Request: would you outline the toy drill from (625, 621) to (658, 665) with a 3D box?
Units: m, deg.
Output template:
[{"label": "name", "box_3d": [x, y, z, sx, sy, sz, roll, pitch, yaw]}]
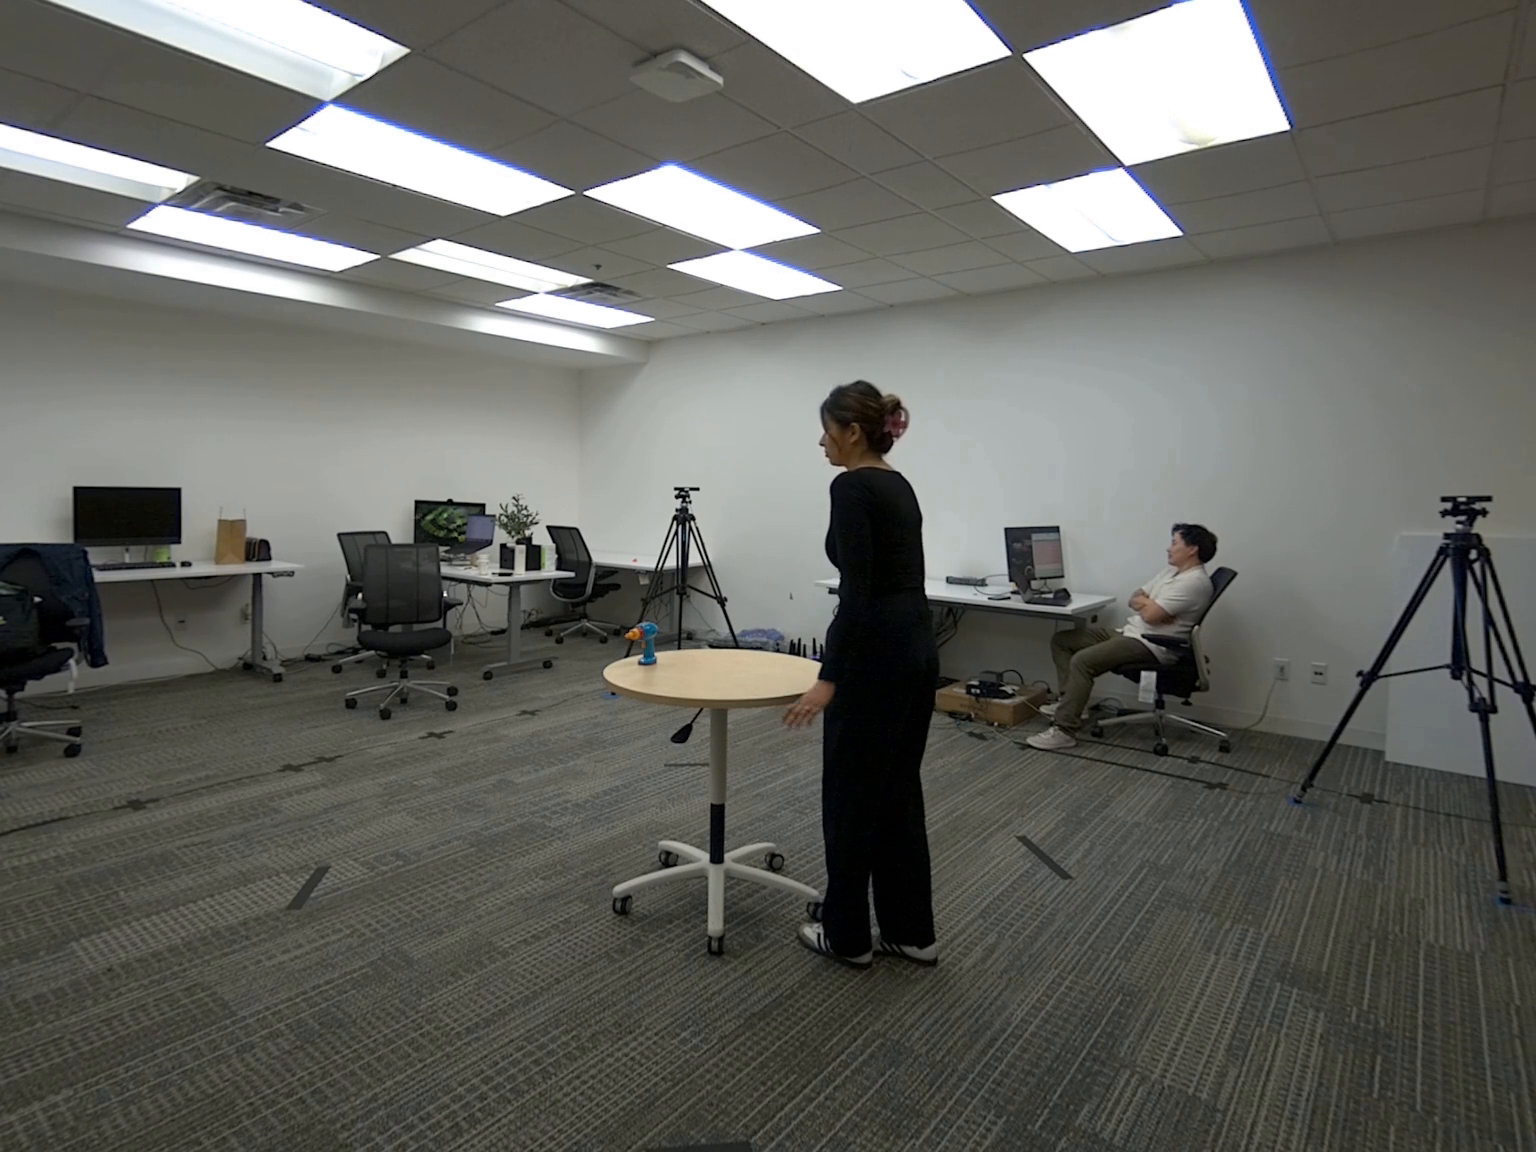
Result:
[{"label": "toy drill", "box_3d": [-0.443, 0.232, 2.887, 0.063, 0.145, 0.166, 2, 6, 29]}]
